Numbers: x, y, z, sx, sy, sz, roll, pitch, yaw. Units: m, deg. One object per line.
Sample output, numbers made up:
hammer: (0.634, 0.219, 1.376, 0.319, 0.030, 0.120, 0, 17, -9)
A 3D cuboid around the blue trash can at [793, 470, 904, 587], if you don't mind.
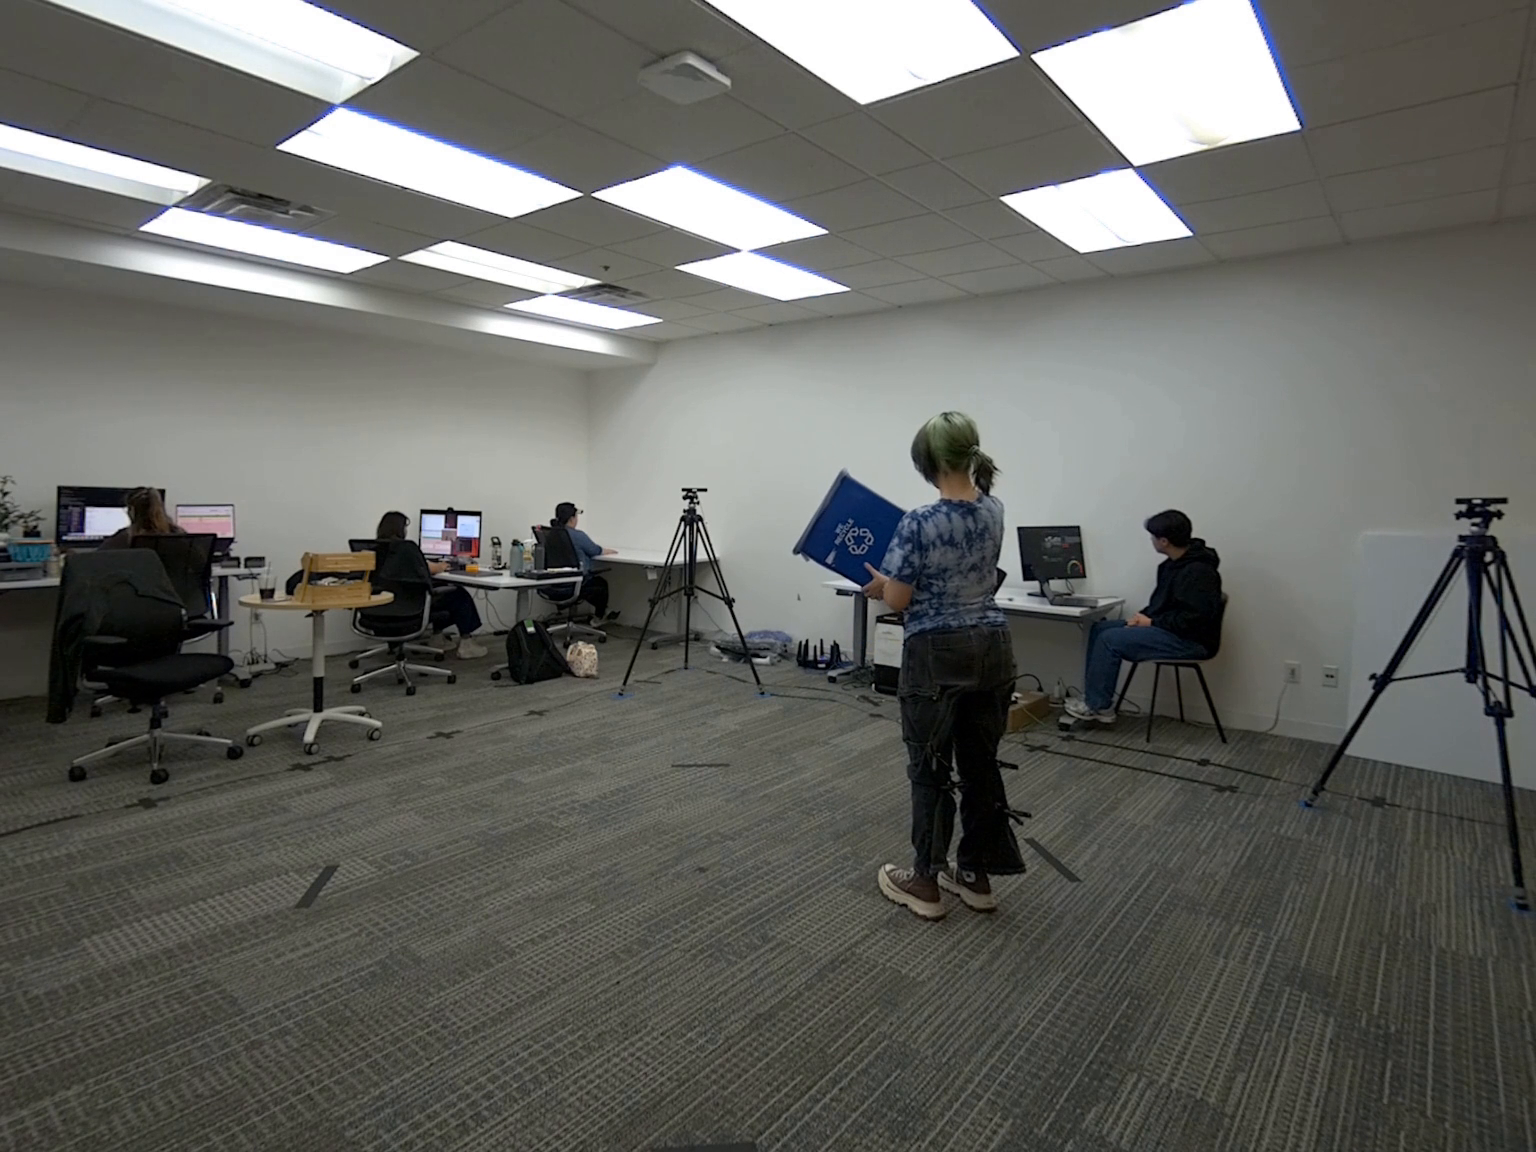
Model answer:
blue trash can: (0.489, -0.083, 3.266, 0.720, 0.374, 0.375, 30, 3, 6)
